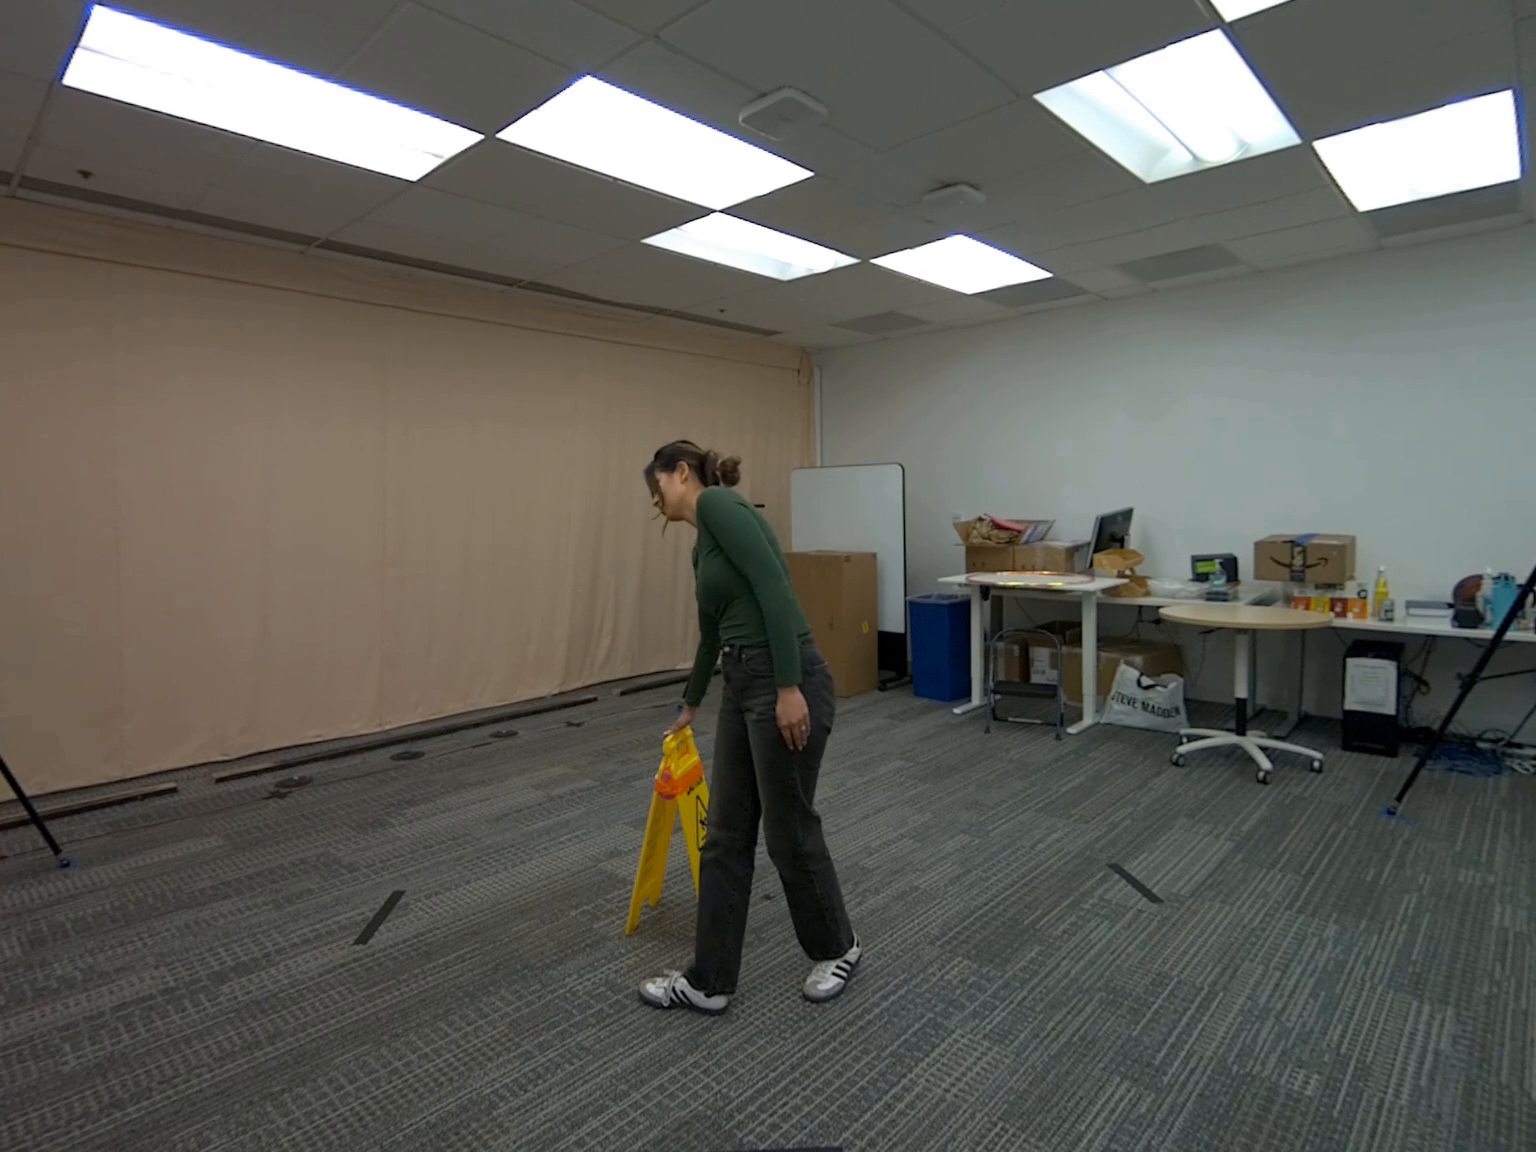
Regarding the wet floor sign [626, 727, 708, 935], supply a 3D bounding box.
[{"bbox_3d":[-0.288,0.838,2.800,0.295,0.644,0.278,1,5,17],"label":"wet floor sign"}]
